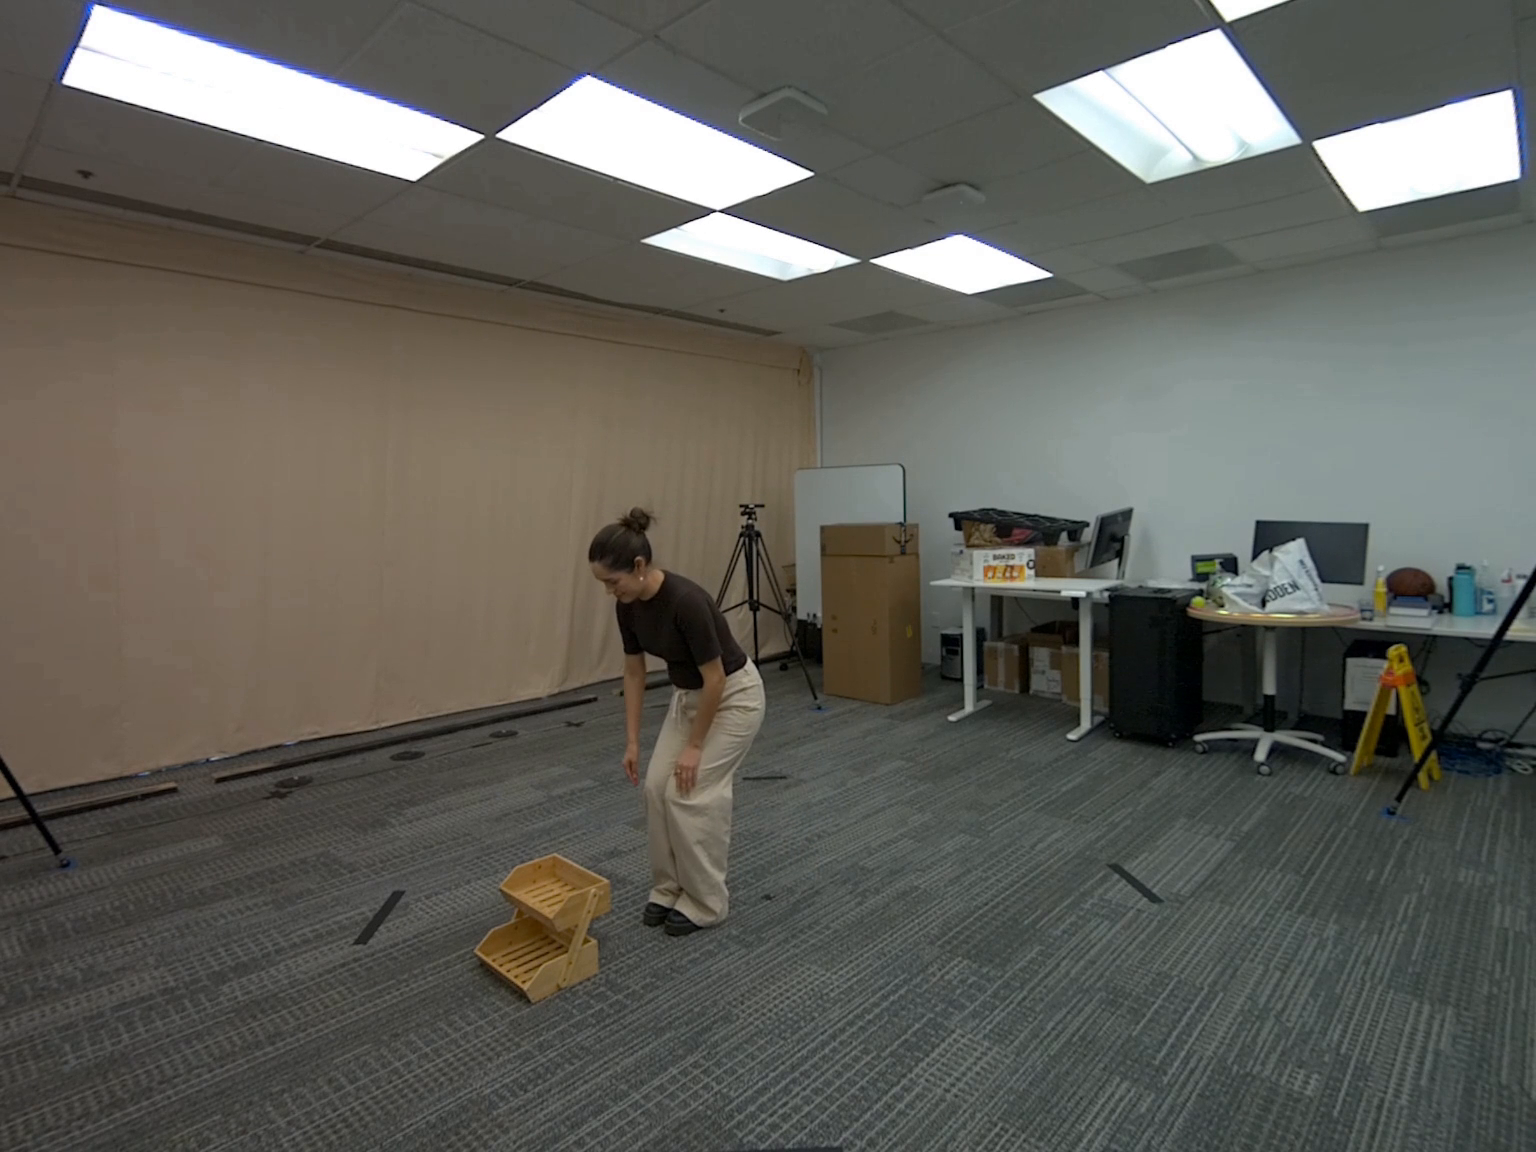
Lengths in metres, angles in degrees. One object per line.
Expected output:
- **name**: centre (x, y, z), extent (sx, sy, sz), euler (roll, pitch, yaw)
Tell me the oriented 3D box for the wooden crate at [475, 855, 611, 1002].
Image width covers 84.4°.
- **wooden crate**: centre (-0.692, 1.061, 2.559), extent (0.335, 0.273, 0.293), euler (2, 4, 44)
